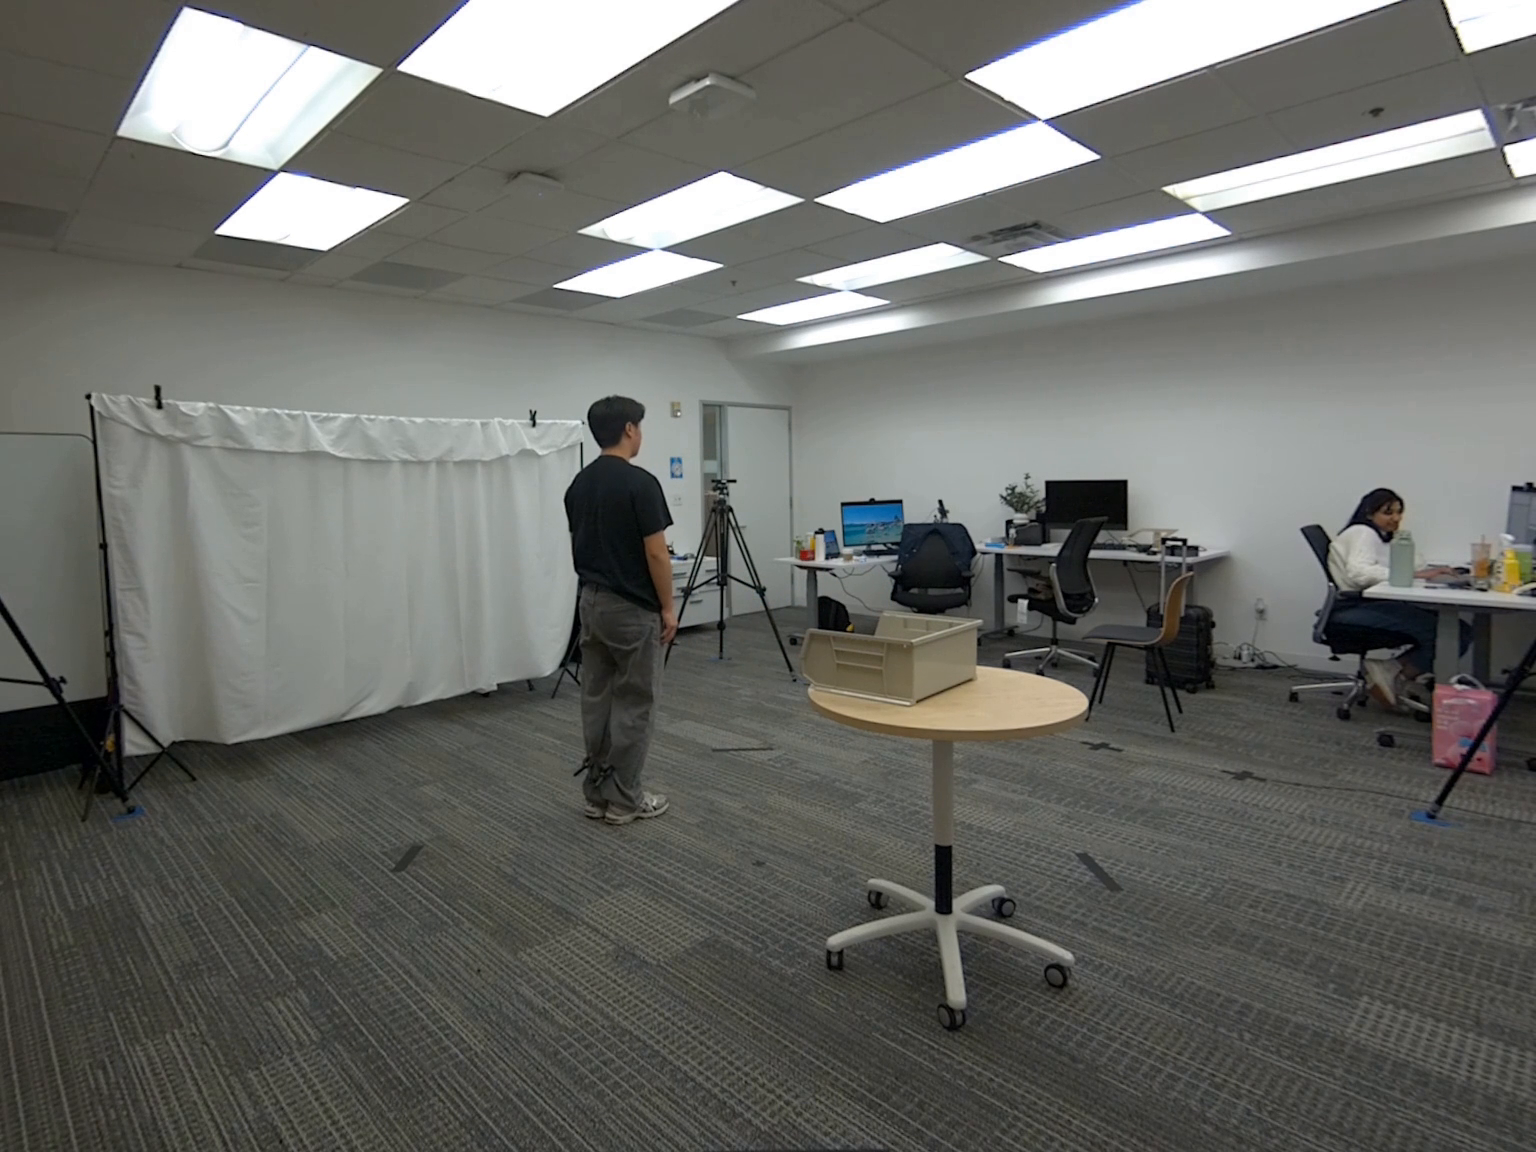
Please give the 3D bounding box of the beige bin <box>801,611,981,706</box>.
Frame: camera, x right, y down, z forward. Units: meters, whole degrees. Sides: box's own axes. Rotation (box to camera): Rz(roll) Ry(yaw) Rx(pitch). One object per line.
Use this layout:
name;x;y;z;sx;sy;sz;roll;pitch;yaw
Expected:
beige bin;0.372;0.235;2.533;0.389;0.188;0.411;5;8;40
